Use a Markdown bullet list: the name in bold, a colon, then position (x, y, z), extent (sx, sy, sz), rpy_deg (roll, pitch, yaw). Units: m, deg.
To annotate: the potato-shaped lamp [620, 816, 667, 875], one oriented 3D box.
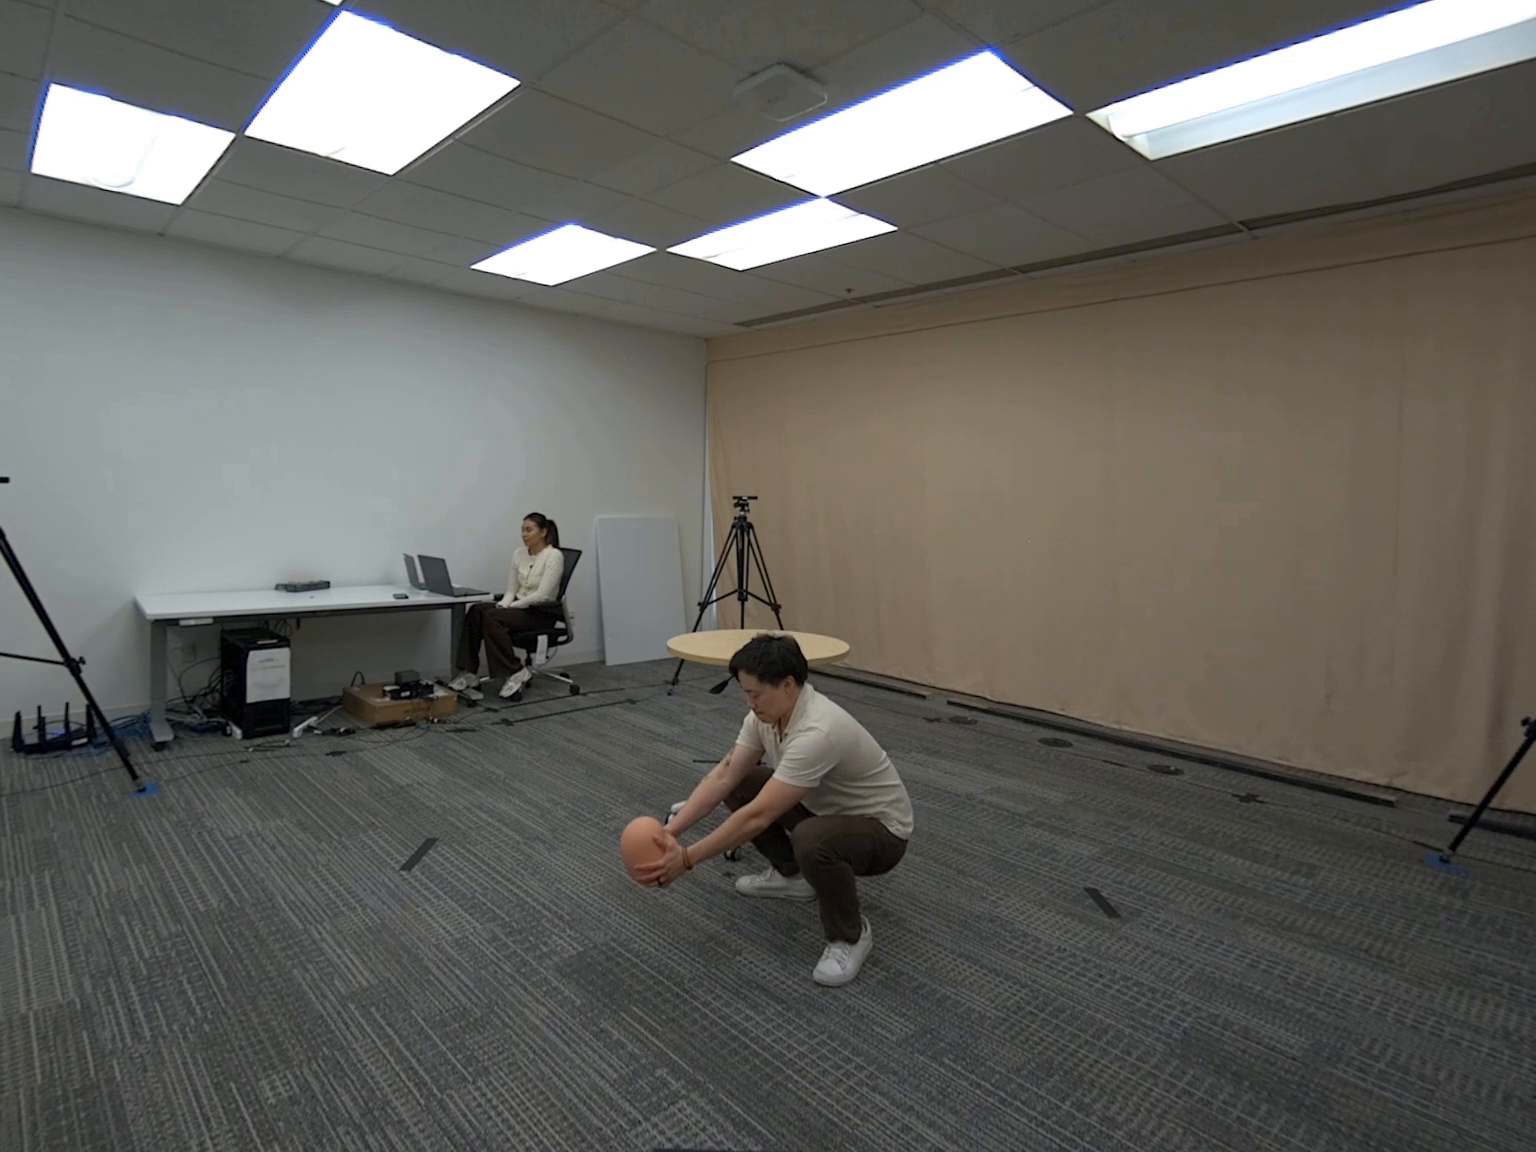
- **potato-shaped lamp**: position (-0.357, 0.815, 2.546), extent (0.170, 0.196, 0.167), rpy_deg (-21, 10, -18)
